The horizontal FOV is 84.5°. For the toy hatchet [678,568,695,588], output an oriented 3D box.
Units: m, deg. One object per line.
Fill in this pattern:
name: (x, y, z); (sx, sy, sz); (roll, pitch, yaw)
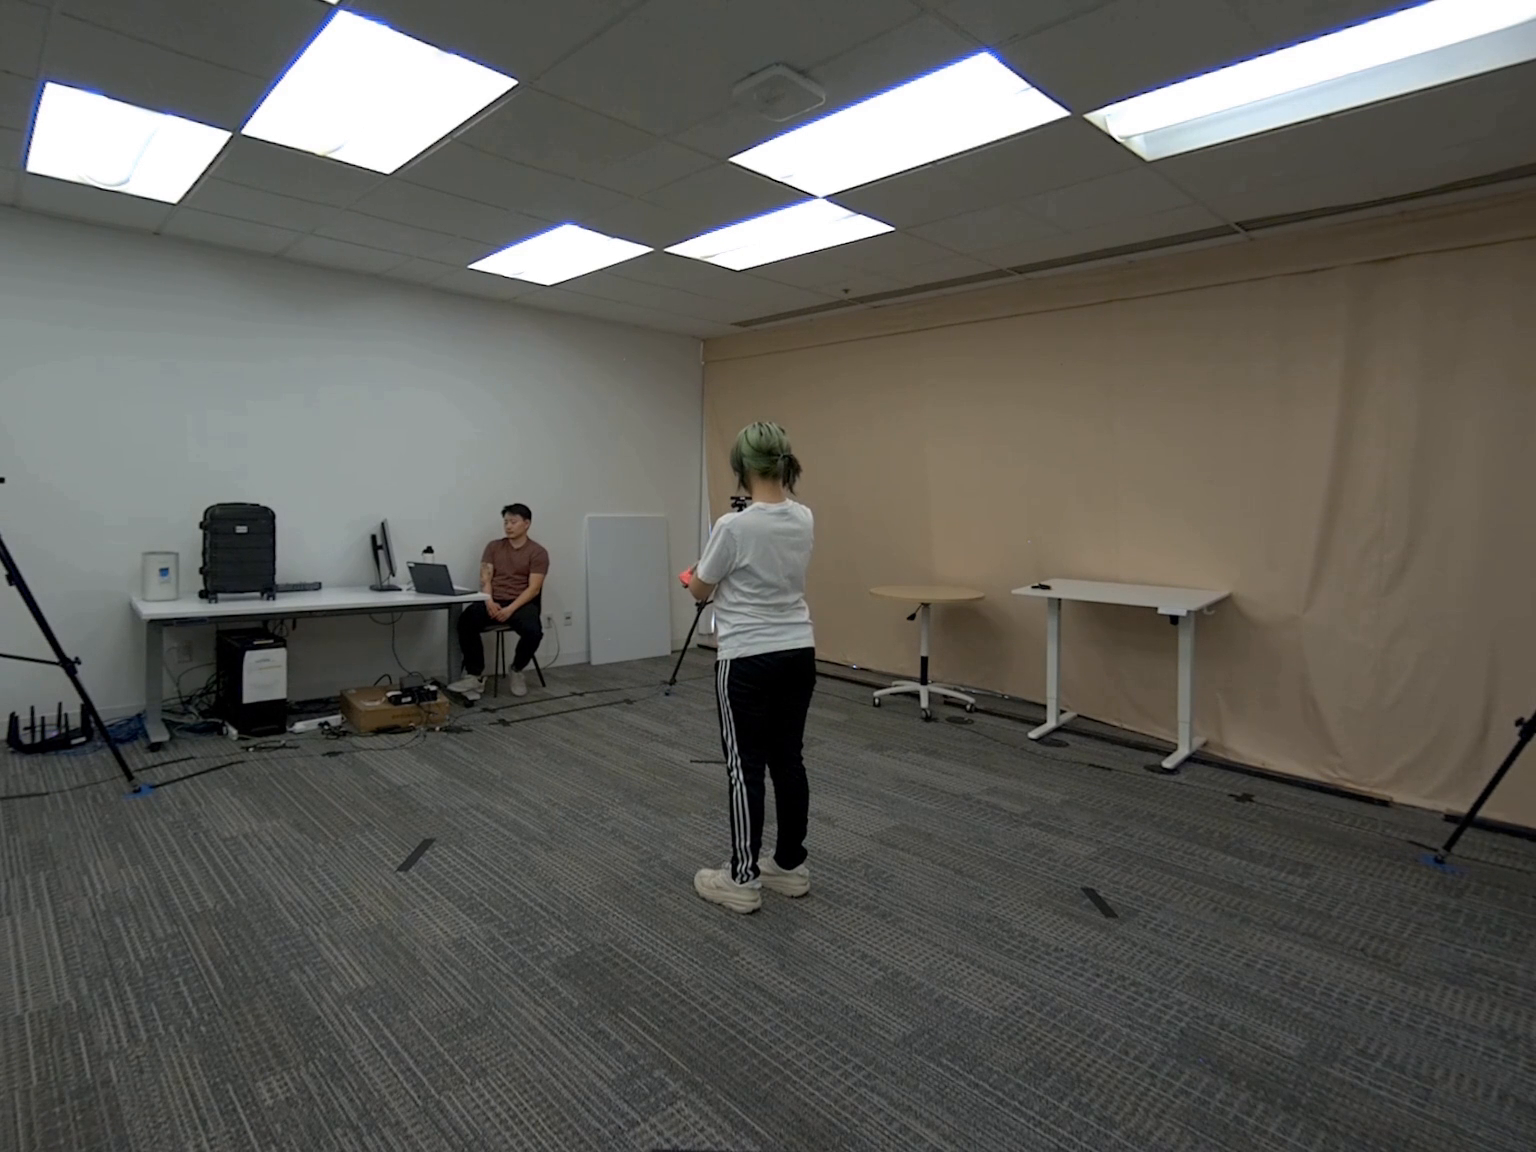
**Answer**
toy hatchet: (-0.259, -0.044, 3.241); (0.134, 0.029, 0.271); (9, 44, 31)
